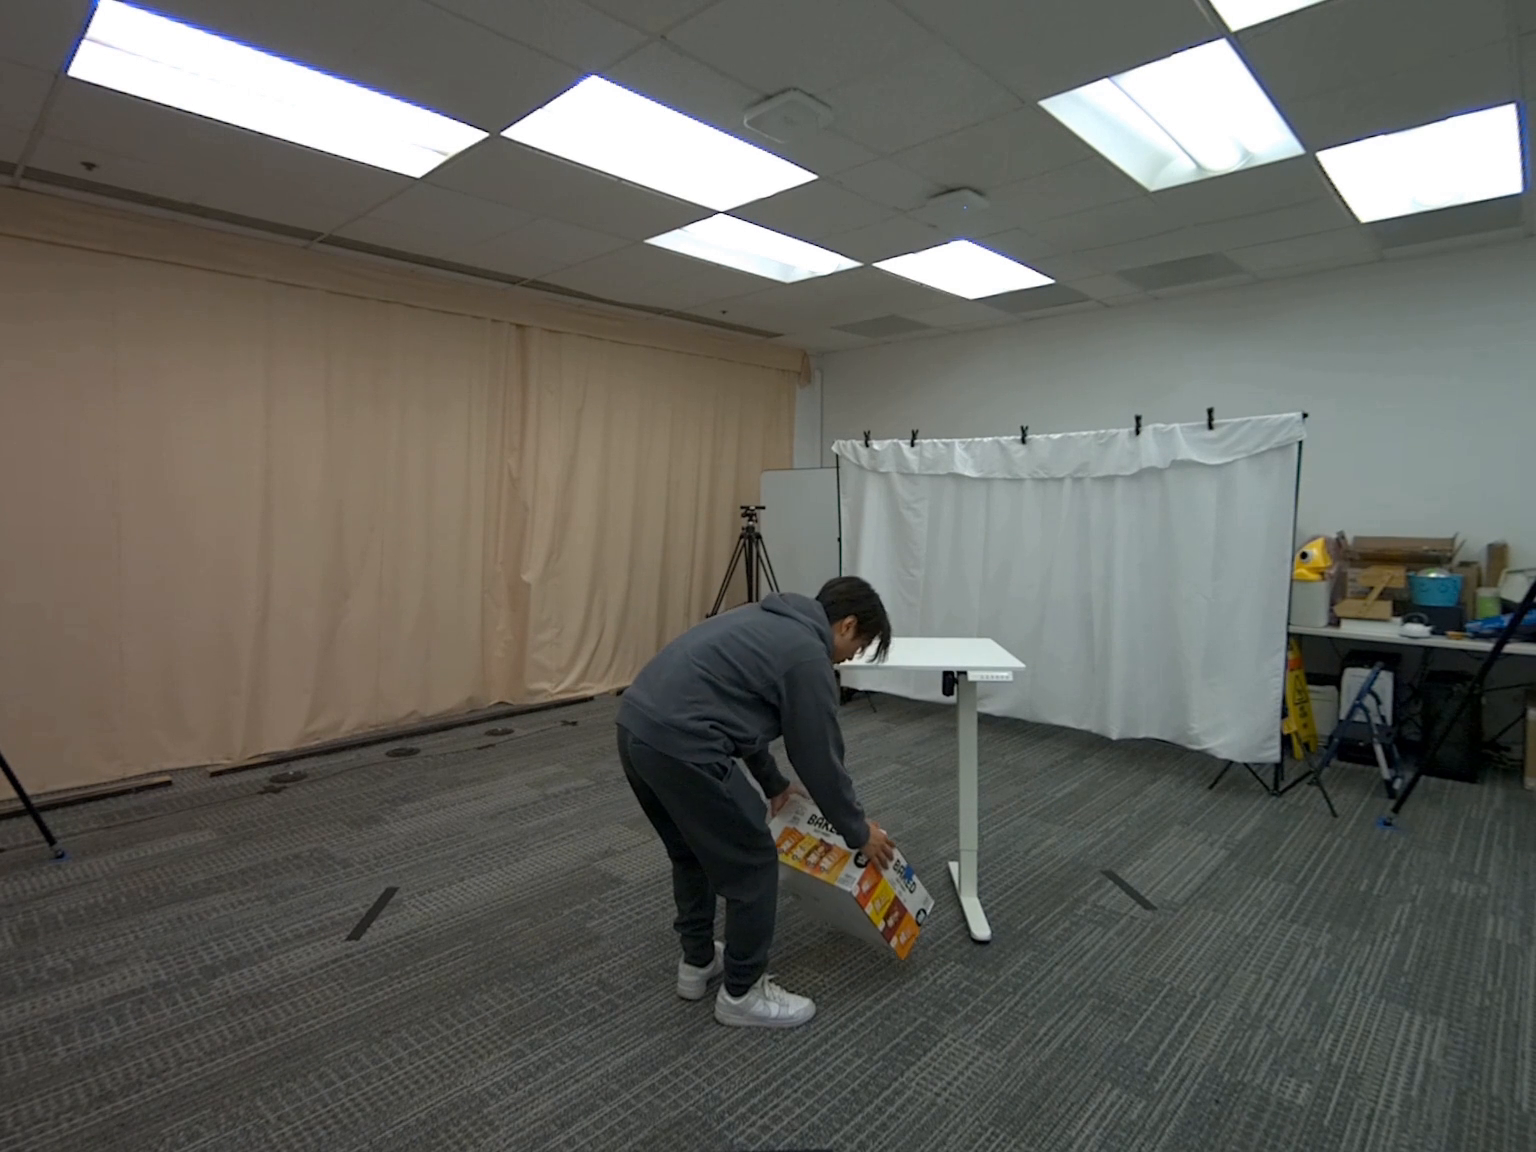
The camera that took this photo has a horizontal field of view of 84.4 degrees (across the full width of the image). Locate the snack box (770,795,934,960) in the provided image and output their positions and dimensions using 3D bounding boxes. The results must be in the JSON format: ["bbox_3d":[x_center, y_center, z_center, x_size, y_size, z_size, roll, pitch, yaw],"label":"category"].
[{"bbox_3d":[0.232,0.902,2.554,0.418,0.332,0.204,2,42,49],"label":"snack box"}]
